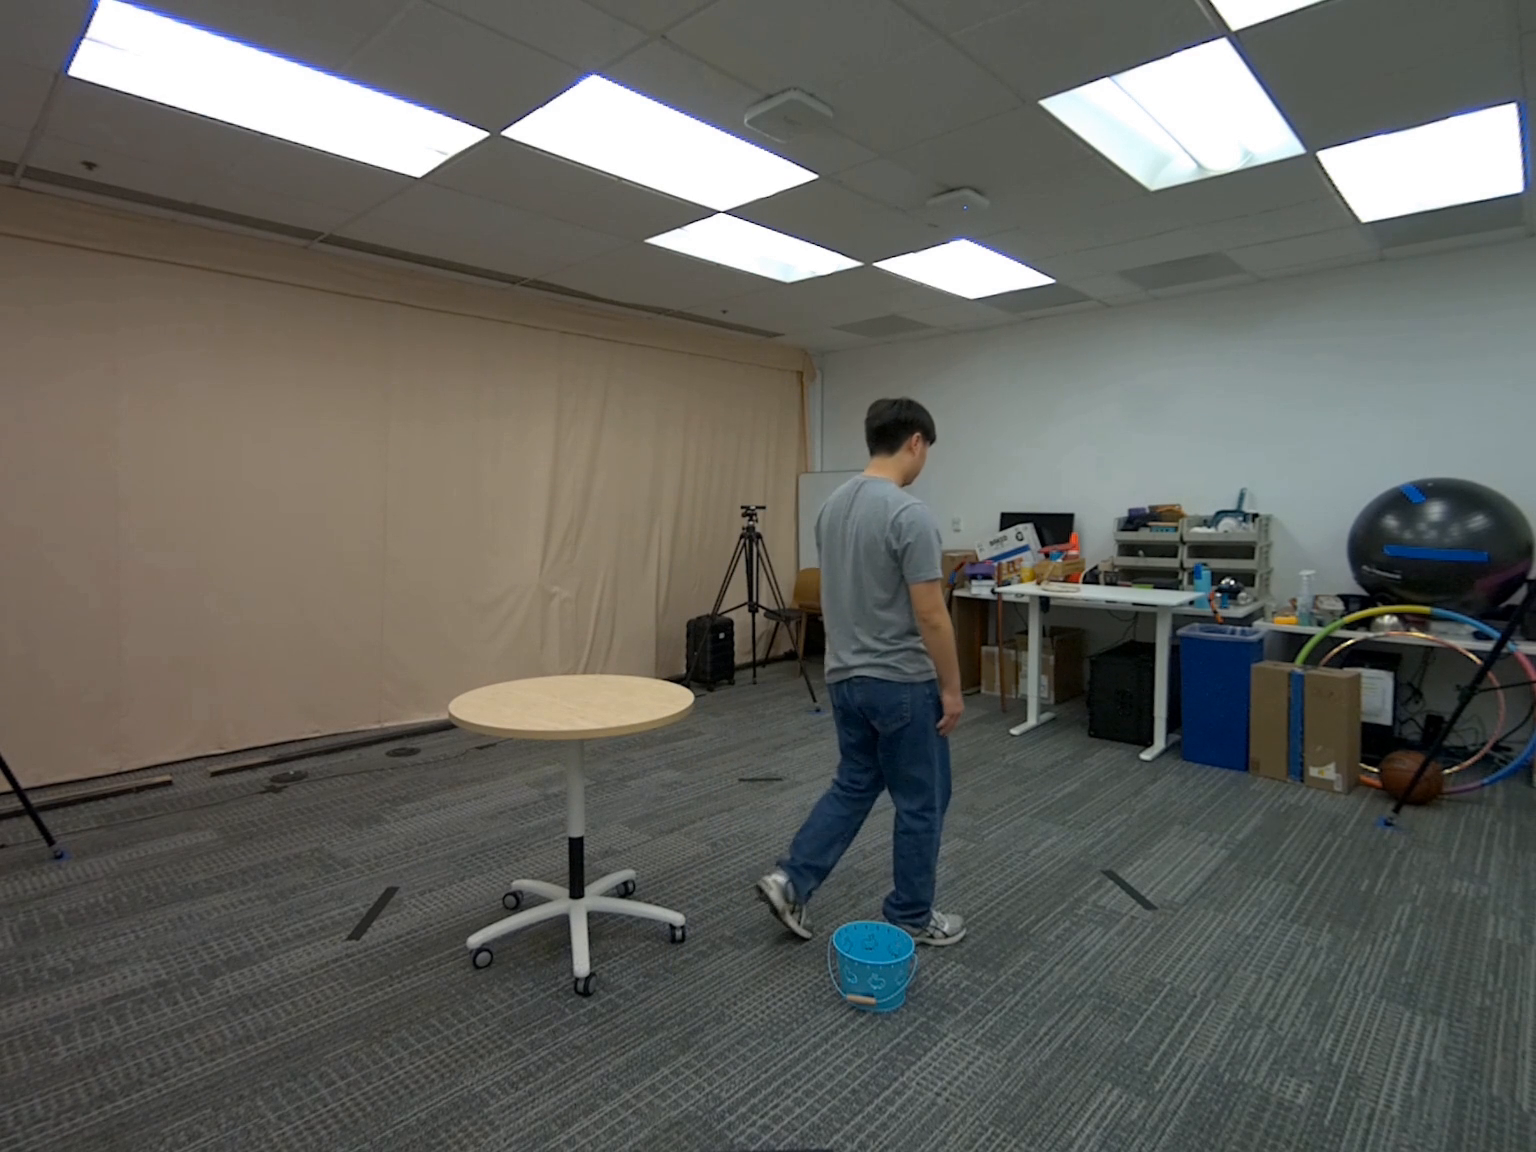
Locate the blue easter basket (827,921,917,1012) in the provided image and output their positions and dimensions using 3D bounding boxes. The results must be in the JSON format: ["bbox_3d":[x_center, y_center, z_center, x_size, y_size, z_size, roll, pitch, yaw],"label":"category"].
[{"bbox_3d":[0.298,1.112,2.399,0.243,0.155,0.244,1,4,-2],"label":"blue easter basket"}]
